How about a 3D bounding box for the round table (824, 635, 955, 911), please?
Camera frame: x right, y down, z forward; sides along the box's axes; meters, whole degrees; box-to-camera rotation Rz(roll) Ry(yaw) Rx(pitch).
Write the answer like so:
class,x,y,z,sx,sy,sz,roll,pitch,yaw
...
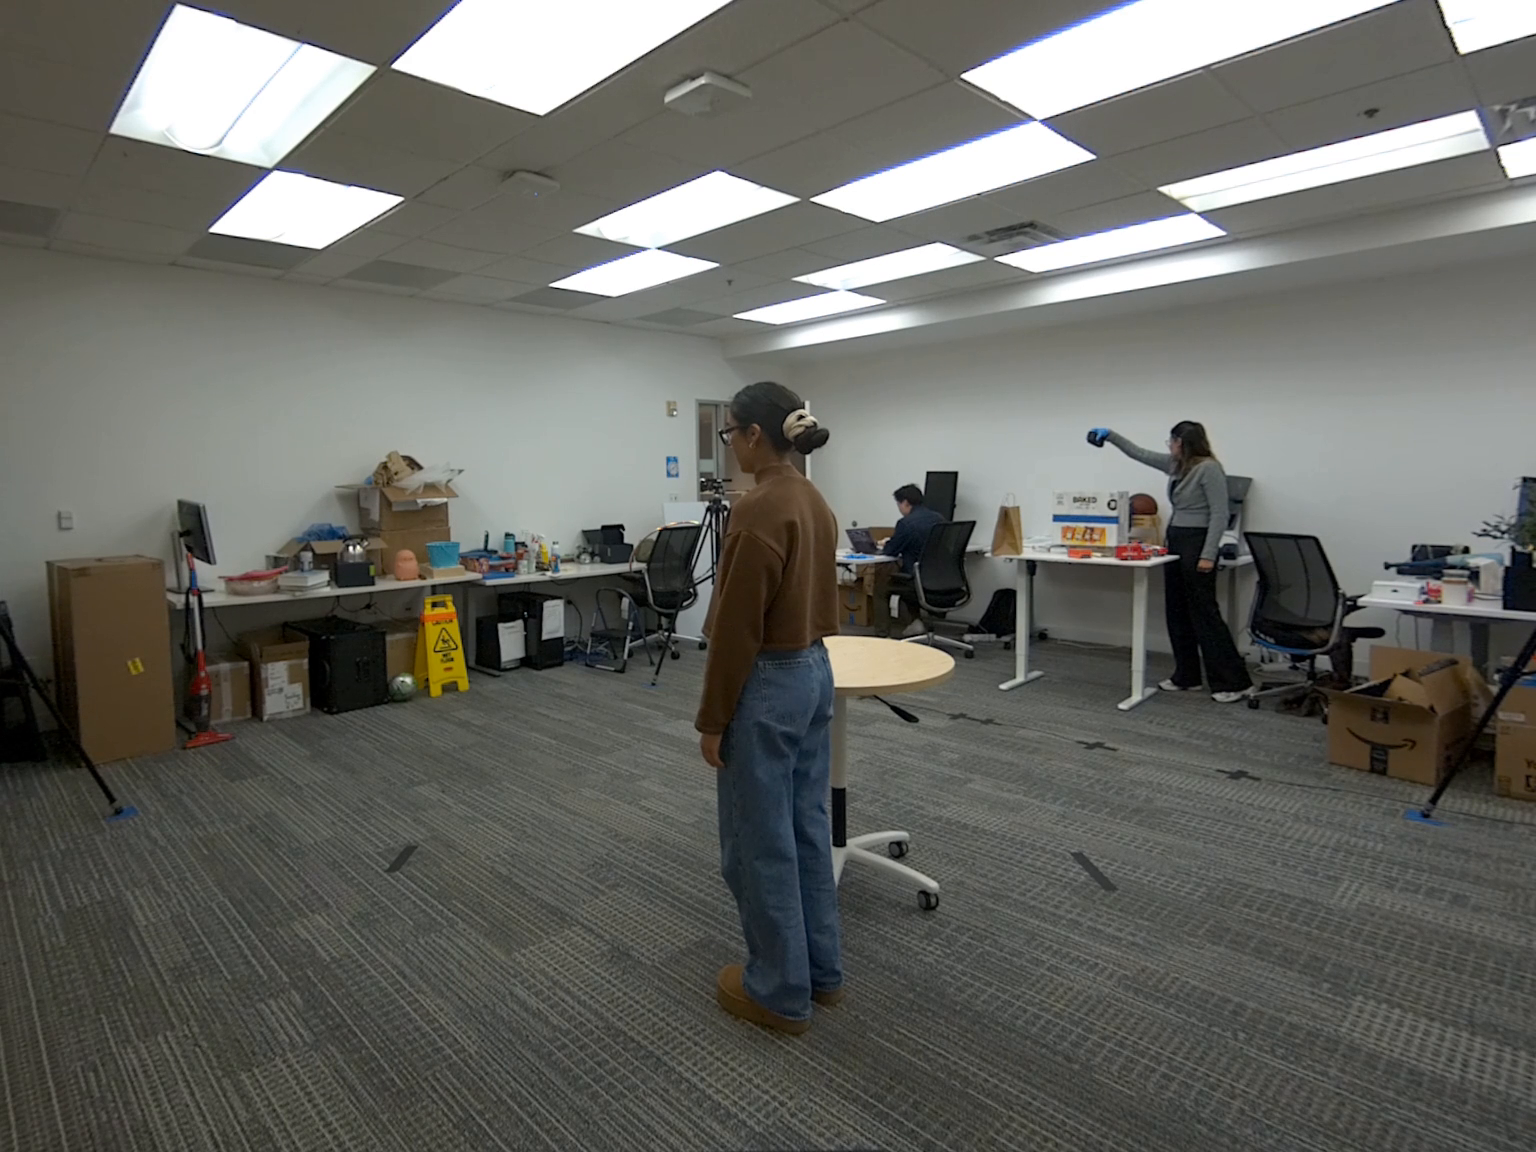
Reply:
class,x,y,z,sx,sy,sz,roll,pitch,yaw
round table,0.251,0.673,2.907,0.763,0.790,0.768,-1,5,-2
